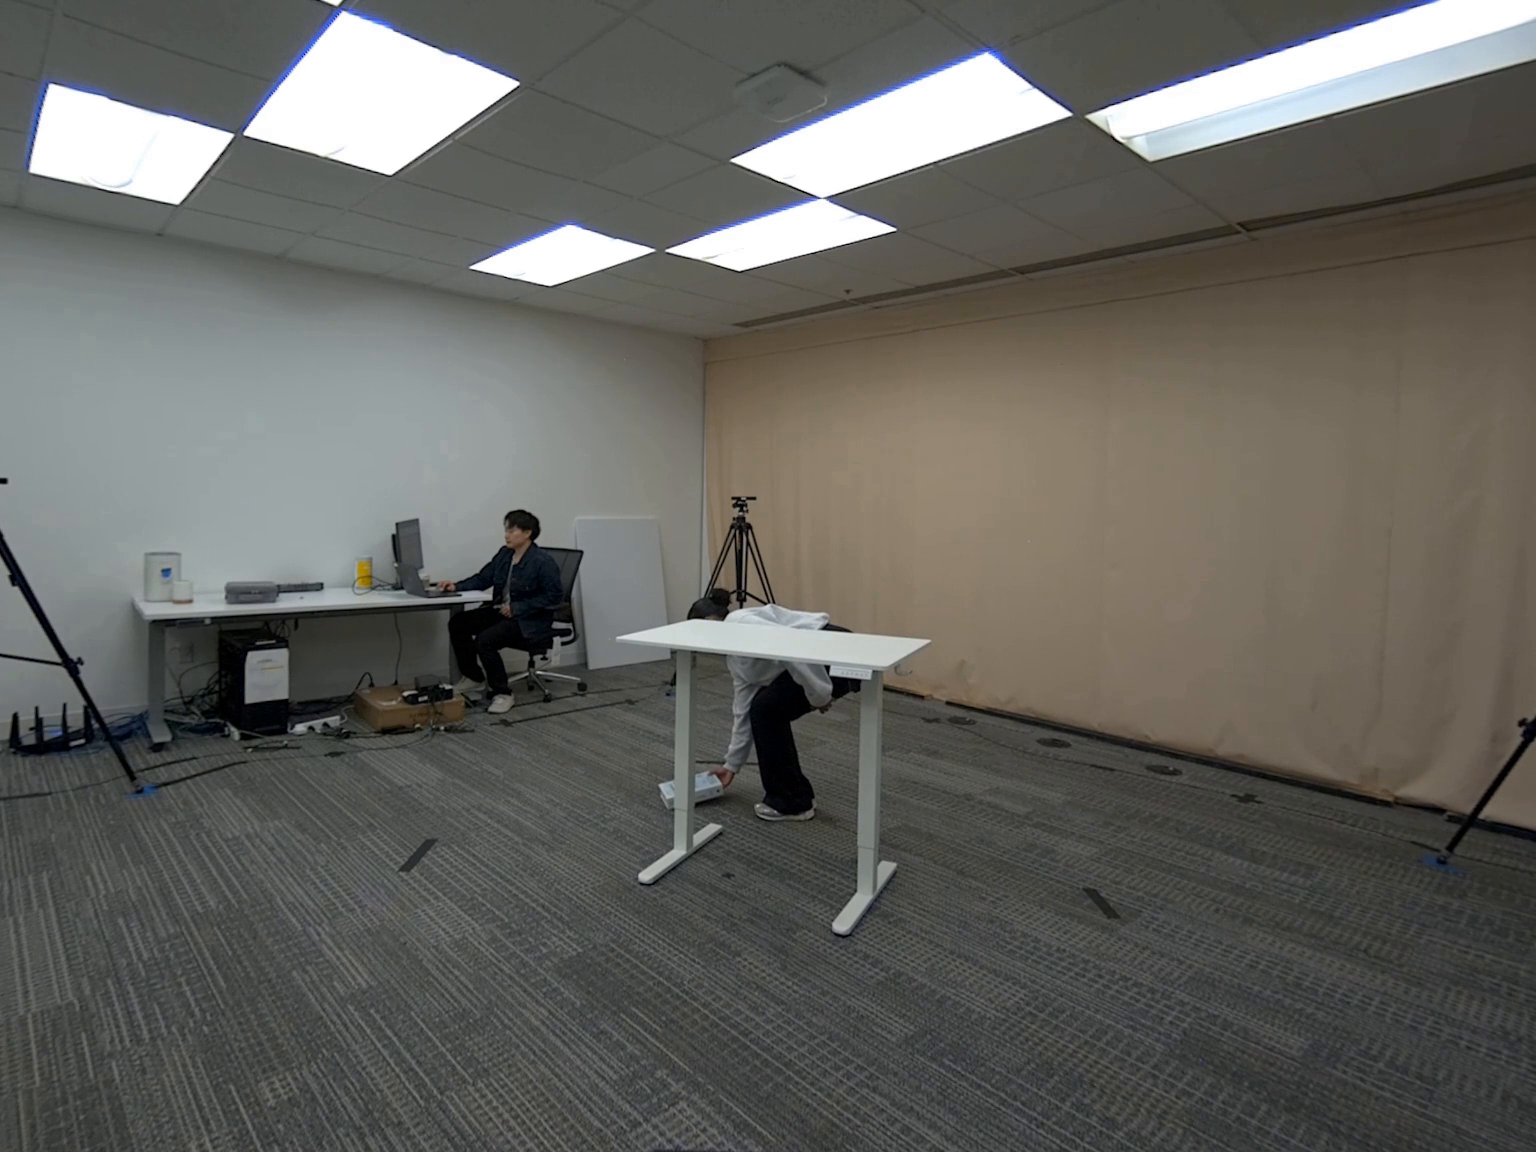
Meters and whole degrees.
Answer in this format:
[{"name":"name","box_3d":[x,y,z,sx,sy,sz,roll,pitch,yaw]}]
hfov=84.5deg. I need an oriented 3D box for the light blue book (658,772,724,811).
[{"name":"light blue book","box_3d":[-0.357,0.976,3.866,0.258,0.059,0.194,-10,8,-15]}]
